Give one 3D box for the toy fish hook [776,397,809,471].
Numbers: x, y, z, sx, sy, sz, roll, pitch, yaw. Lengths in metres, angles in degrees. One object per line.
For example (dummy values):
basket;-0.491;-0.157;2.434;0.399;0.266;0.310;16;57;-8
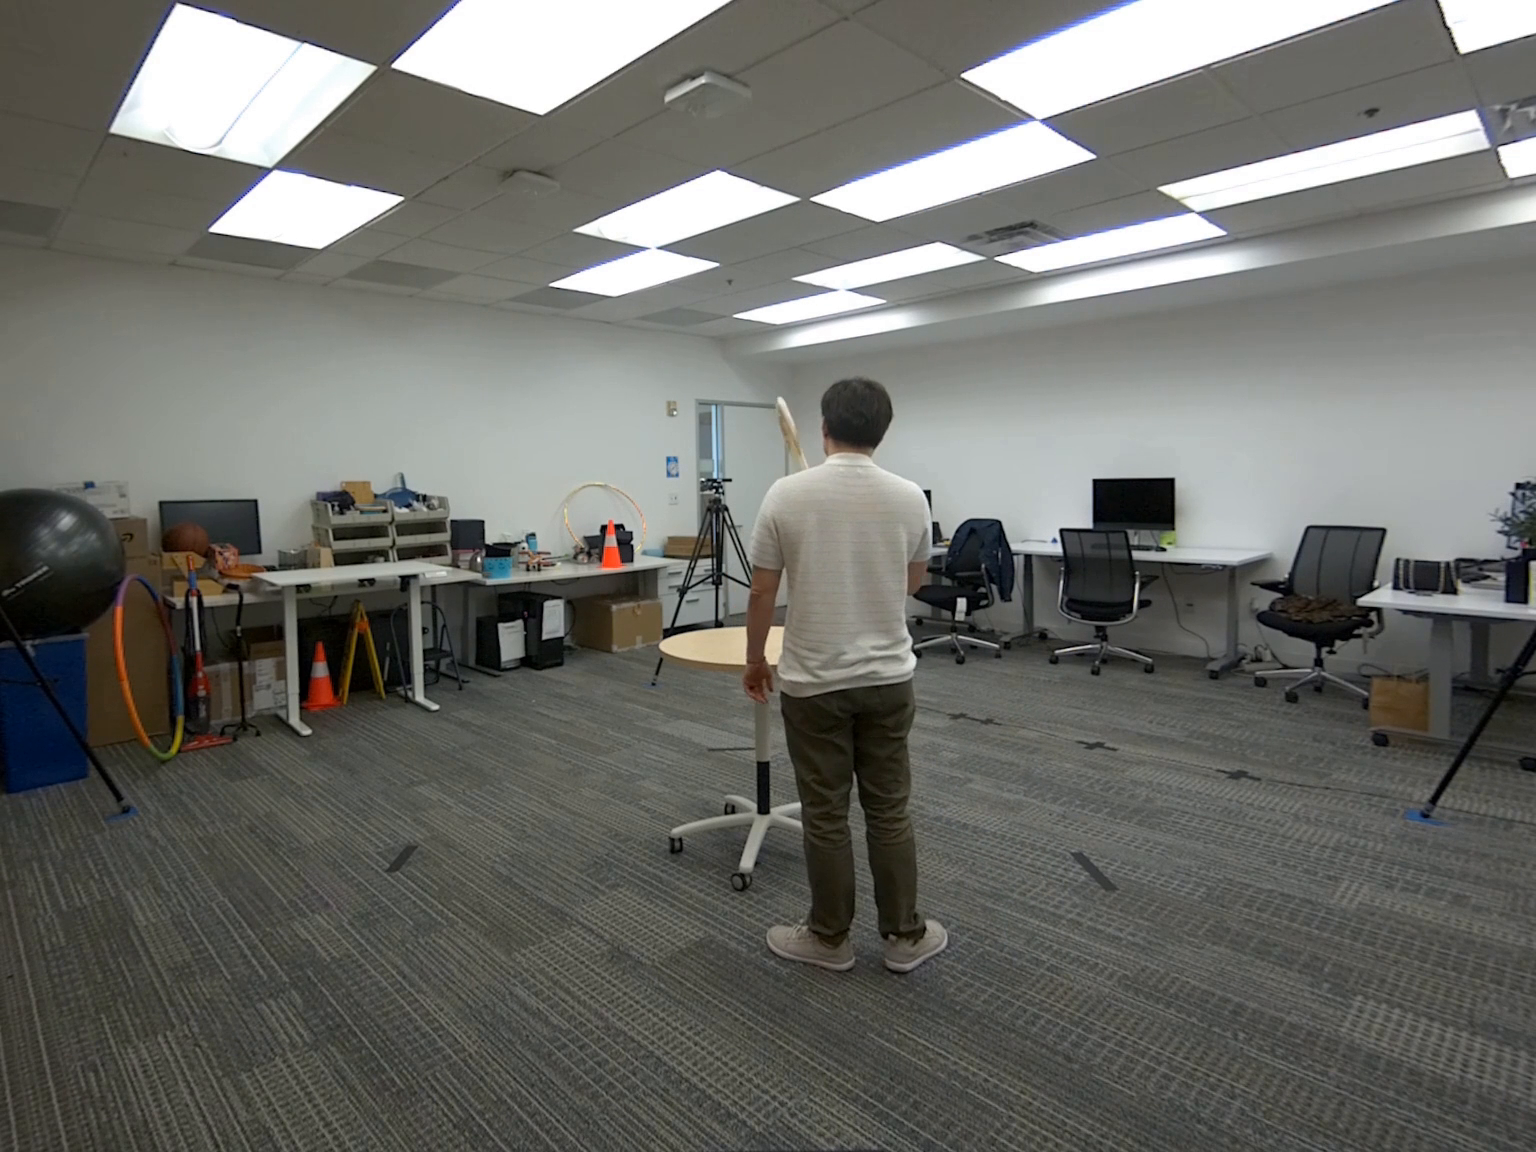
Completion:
toy fish hook;0.122;-0.296;2.599;0.048;0.510;0.222;-20;-6;6
